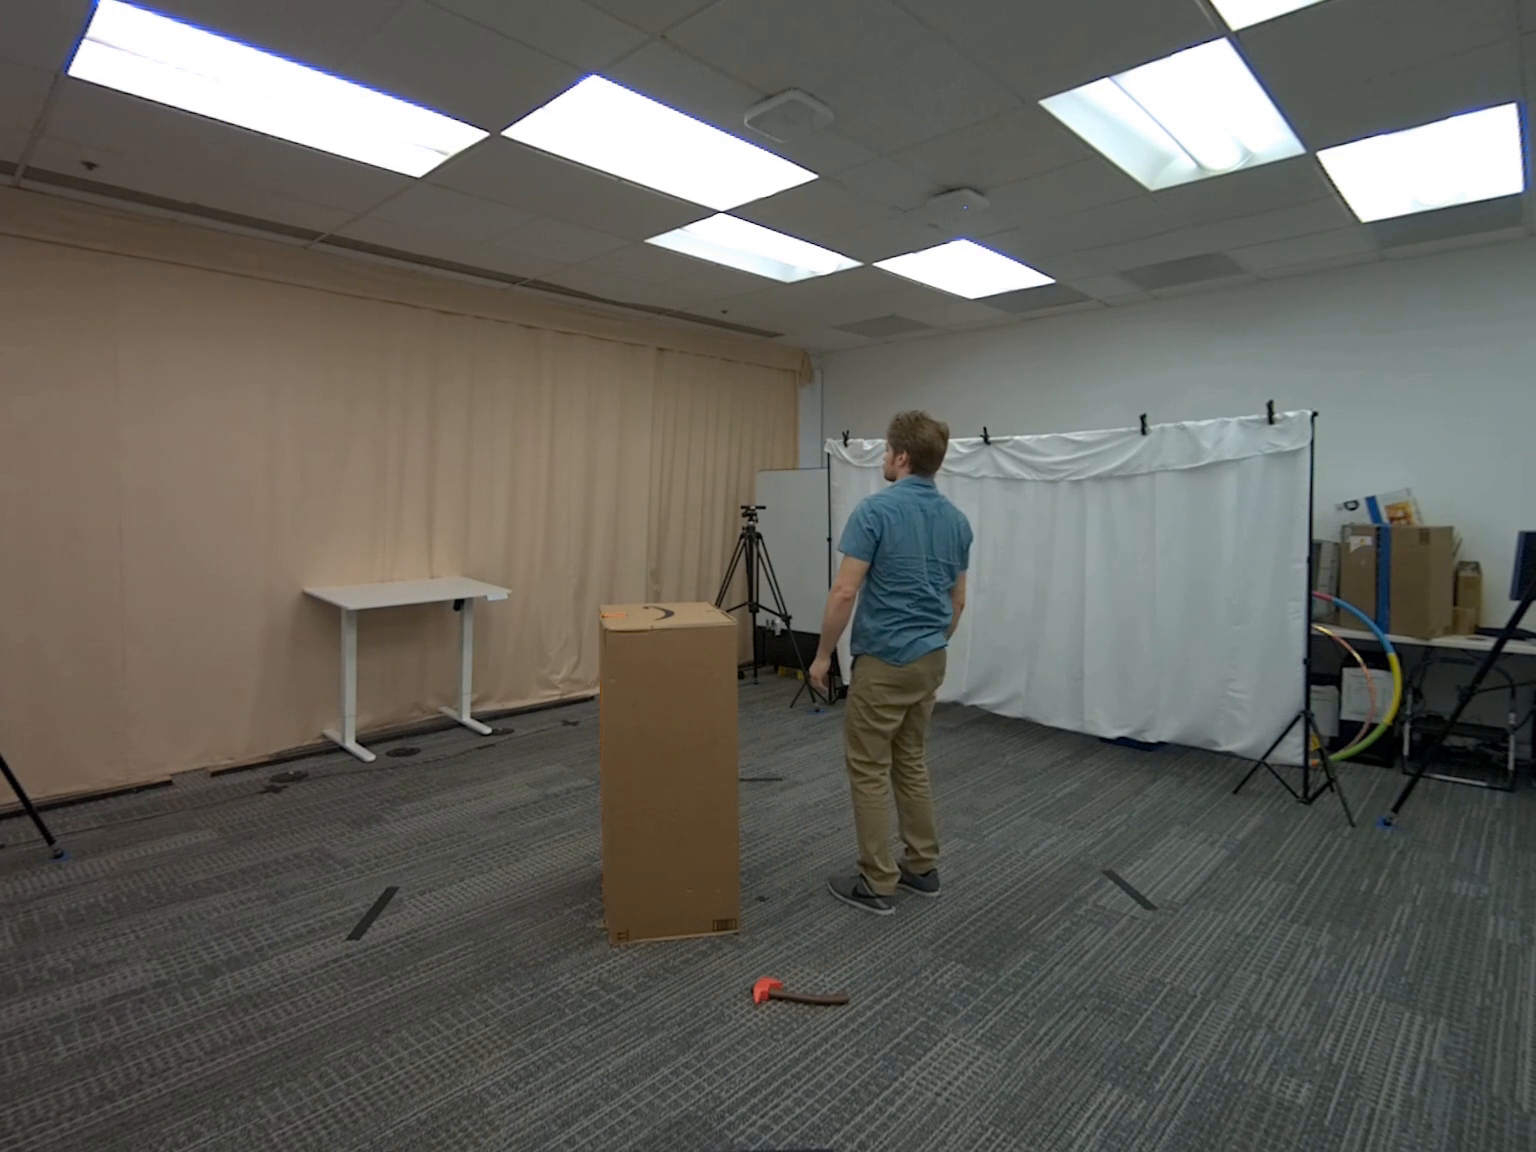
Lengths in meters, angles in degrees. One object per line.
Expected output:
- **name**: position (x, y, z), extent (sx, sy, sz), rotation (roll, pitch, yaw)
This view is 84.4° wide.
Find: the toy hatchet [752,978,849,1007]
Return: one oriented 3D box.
- **toy hatchet**: position (0.092, 1.182, 2.395), extent (0.269, 0.029, 0.131), rotation (2, 0, -4)
